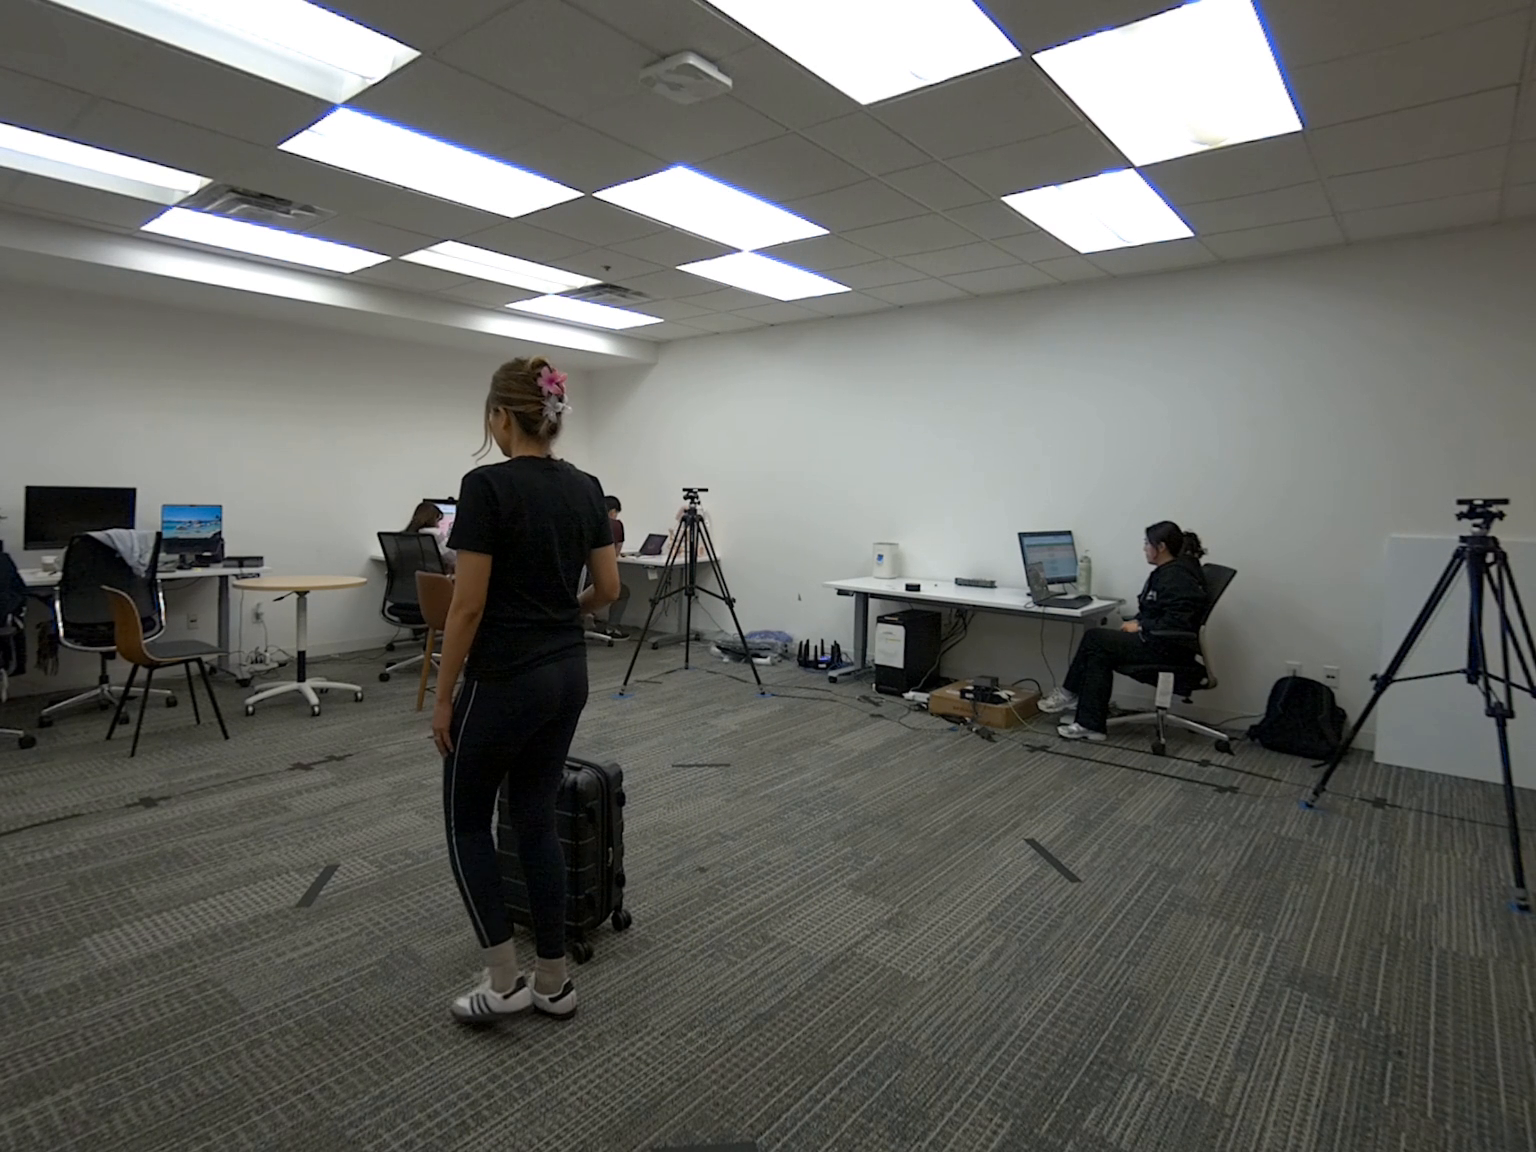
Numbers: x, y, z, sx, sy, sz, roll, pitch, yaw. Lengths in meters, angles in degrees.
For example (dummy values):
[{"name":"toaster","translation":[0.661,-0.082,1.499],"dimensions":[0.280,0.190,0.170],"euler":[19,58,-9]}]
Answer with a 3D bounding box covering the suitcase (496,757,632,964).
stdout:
[{"name":"suitcase","translation":[-0.652,0.633,2.661],"dimensions":[0.394,0.980,0.250],"euler":[0,-1,27]}]
